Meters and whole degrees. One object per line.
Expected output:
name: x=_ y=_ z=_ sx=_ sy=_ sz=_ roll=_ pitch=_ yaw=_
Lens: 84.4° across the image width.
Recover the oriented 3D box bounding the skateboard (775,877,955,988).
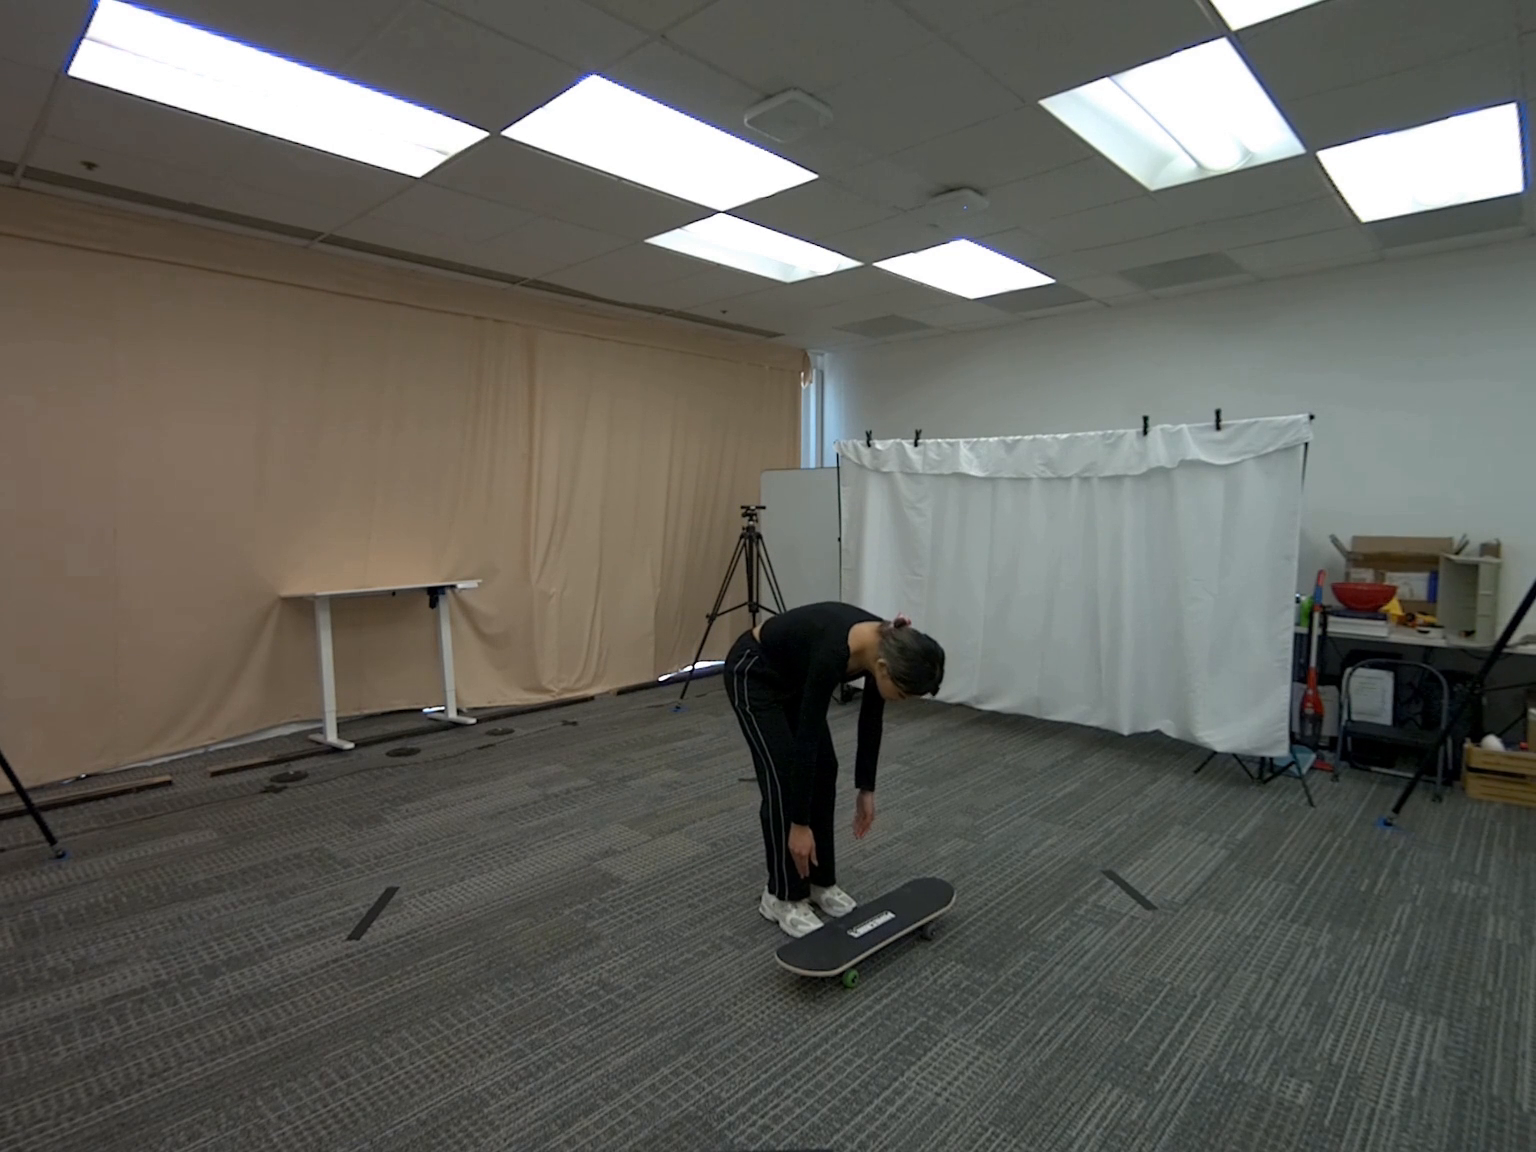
skateboard: x=0.336 y=1.128 z=2.607 sx=0.761 sy=0.110 sz=0.200 roll=-5 pitch=7 yaw=-43
